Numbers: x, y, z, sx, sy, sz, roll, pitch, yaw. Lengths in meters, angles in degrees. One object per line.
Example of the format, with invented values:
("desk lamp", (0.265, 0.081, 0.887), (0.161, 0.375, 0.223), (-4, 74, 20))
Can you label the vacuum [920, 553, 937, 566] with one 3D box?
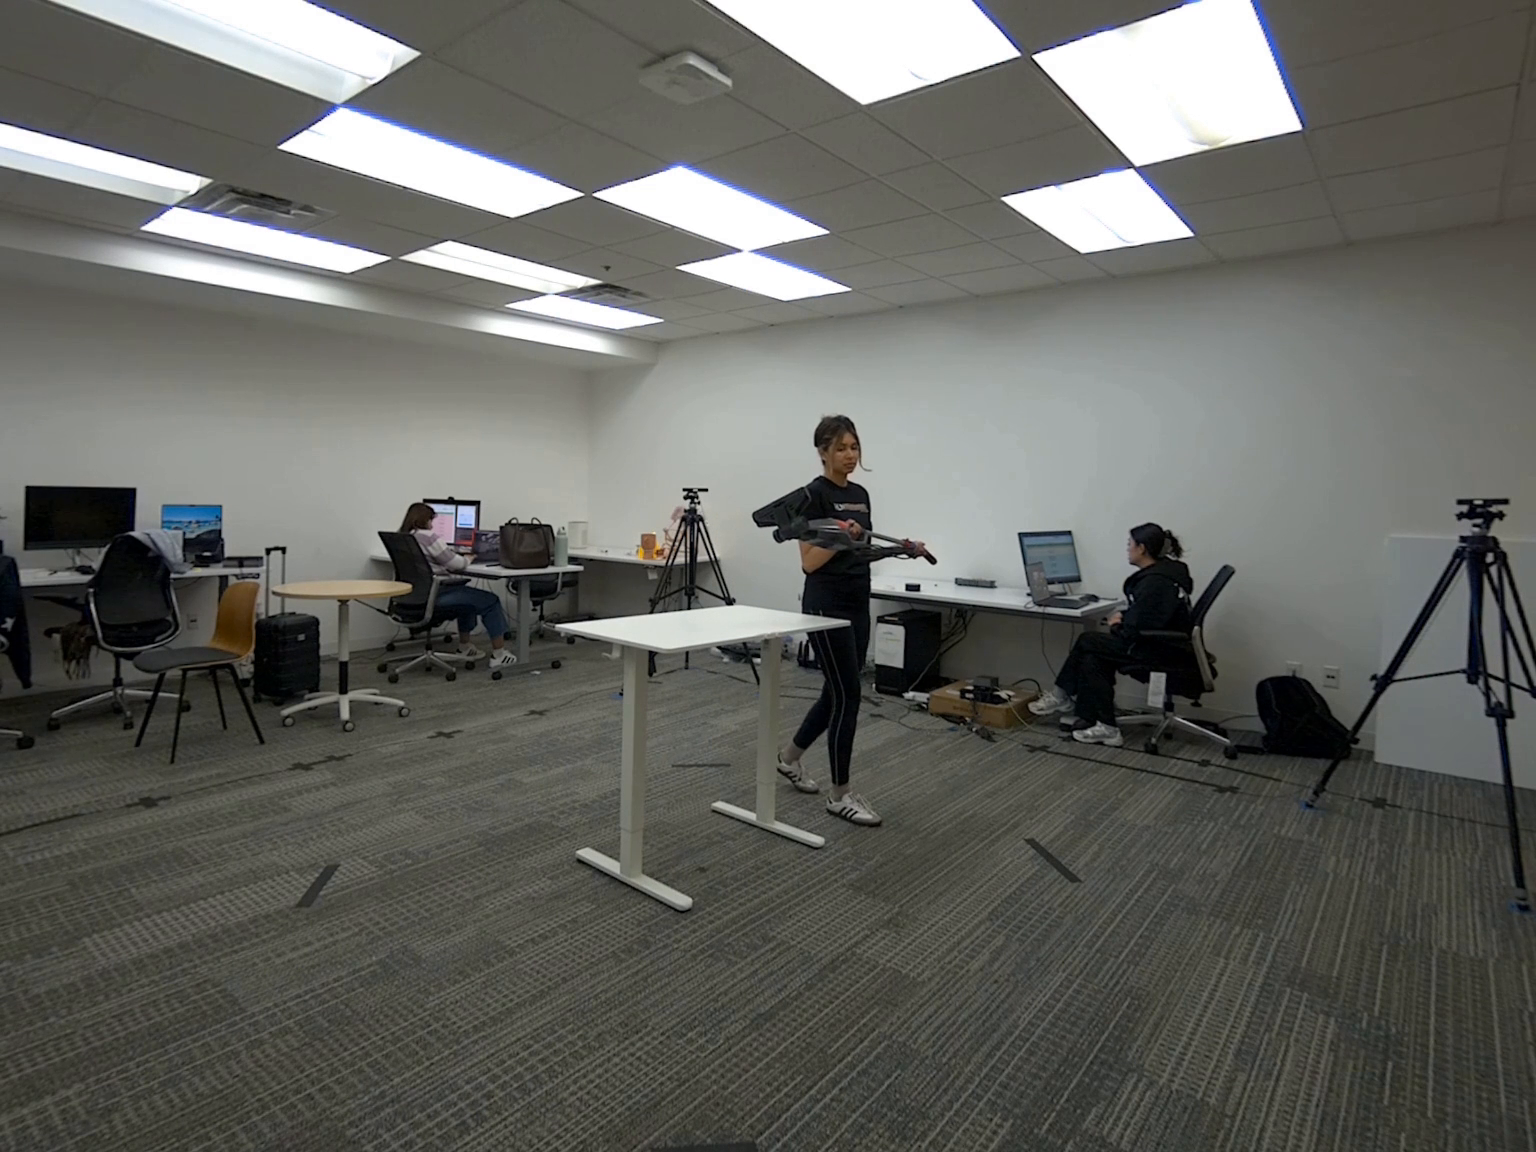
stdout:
("vacuum", (0.381, -0.134, 3.378), (1.011, 0.147, 0.256), (11, -30, -44))
